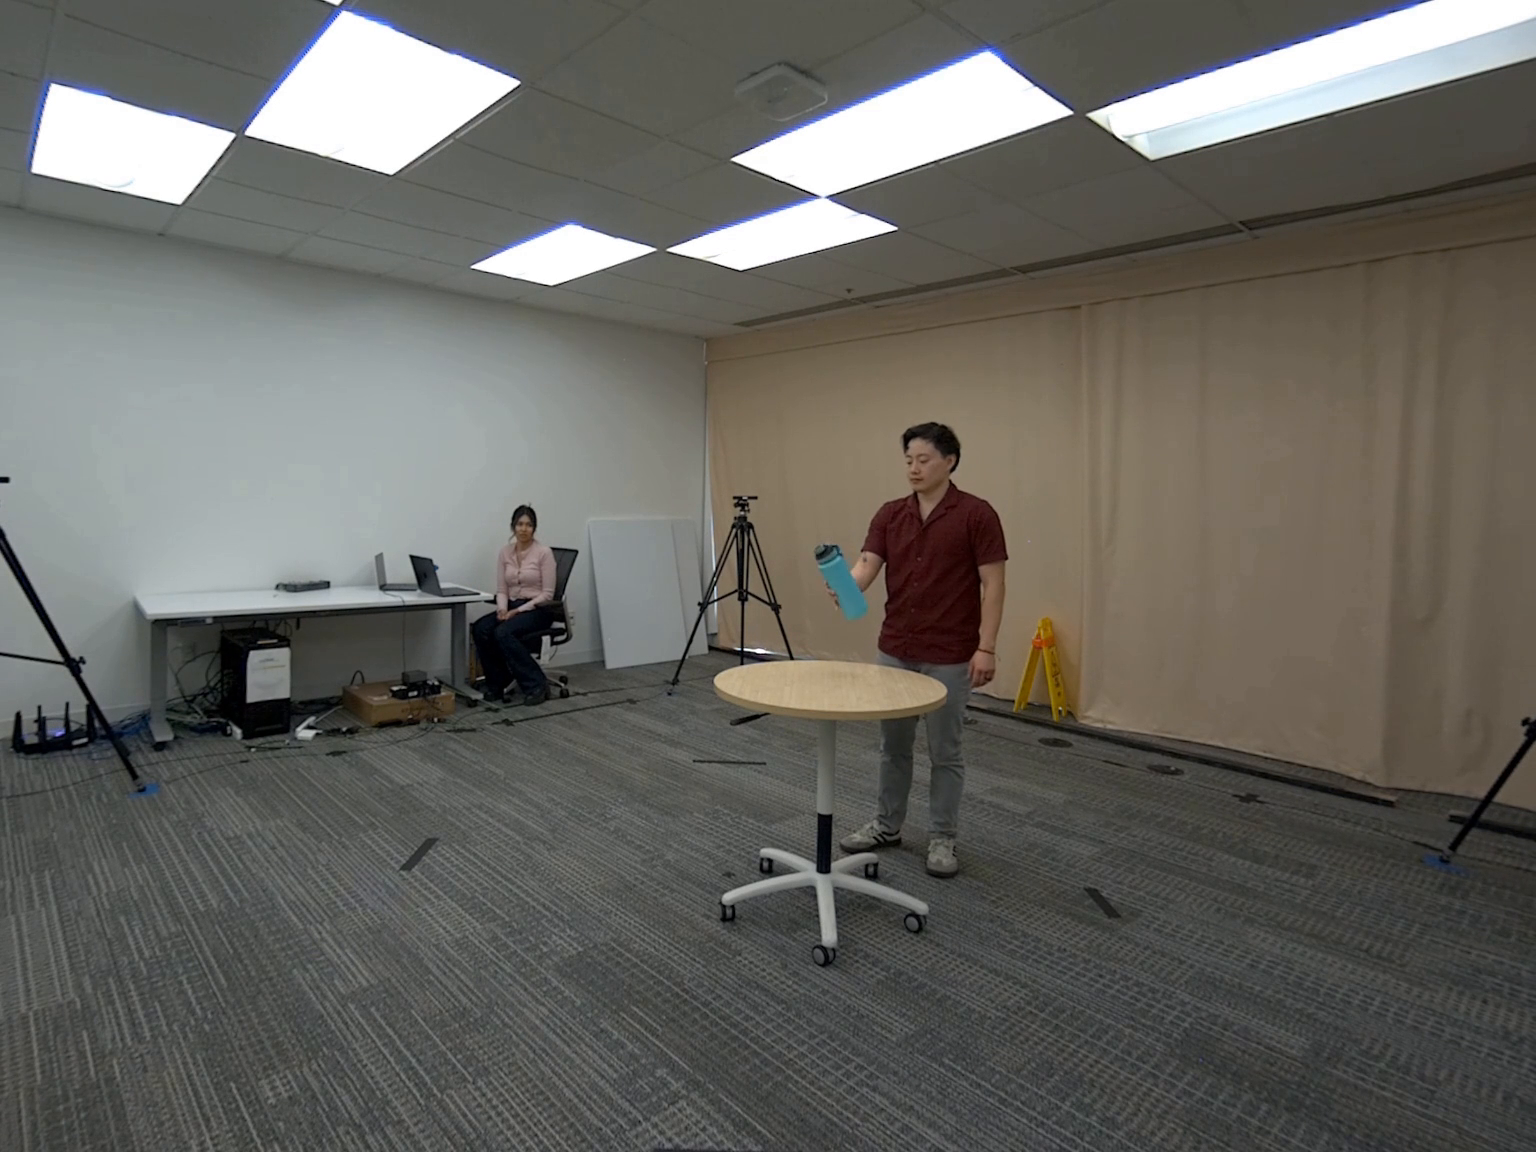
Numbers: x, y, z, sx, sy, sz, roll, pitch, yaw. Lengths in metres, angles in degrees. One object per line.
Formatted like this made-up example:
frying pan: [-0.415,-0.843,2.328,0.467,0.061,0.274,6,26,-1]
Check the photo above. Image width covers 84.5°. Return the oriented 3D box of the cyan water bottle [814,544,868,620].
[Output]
cyan water bottle: [0.248,0.017,2.922,0.092,0.279,0.093,-26,14,6]
